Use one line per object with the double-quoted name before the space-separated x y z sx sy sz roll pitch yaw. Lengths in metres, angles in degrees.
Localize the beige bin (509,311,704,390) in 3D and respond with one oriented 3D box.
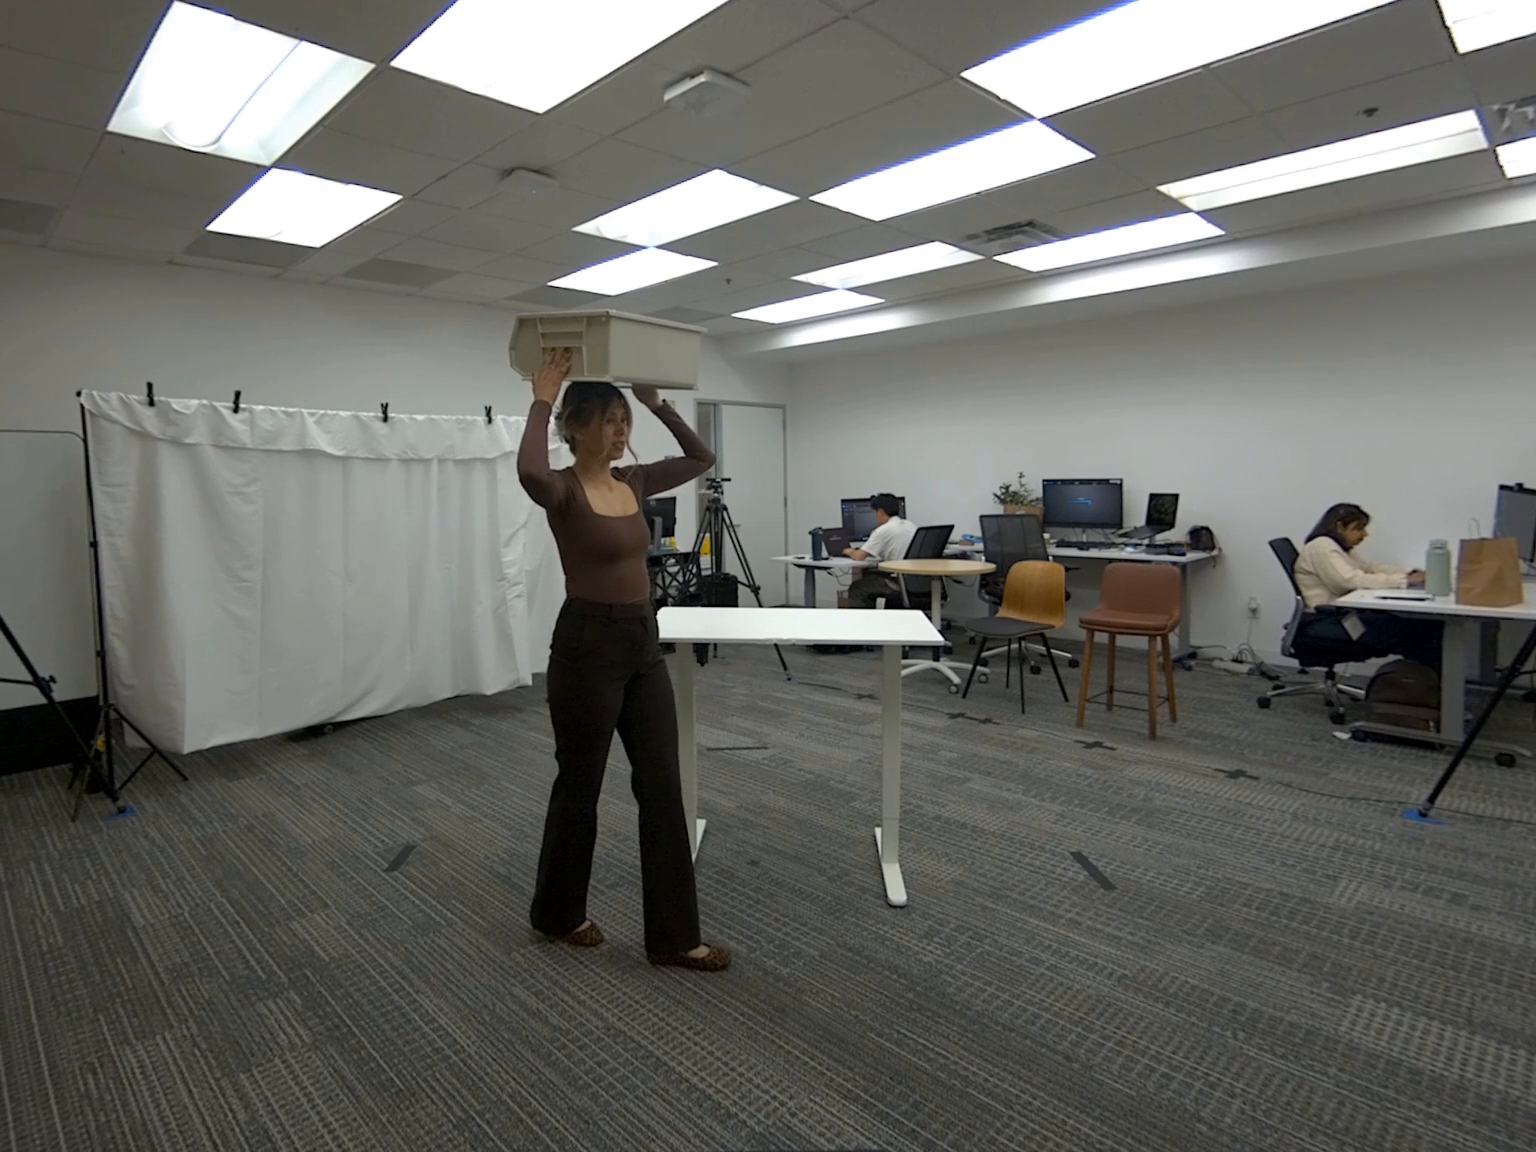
"beige bin" -0.451 -0.636 2.436 0.389 0.187 0.412 9 11 32
